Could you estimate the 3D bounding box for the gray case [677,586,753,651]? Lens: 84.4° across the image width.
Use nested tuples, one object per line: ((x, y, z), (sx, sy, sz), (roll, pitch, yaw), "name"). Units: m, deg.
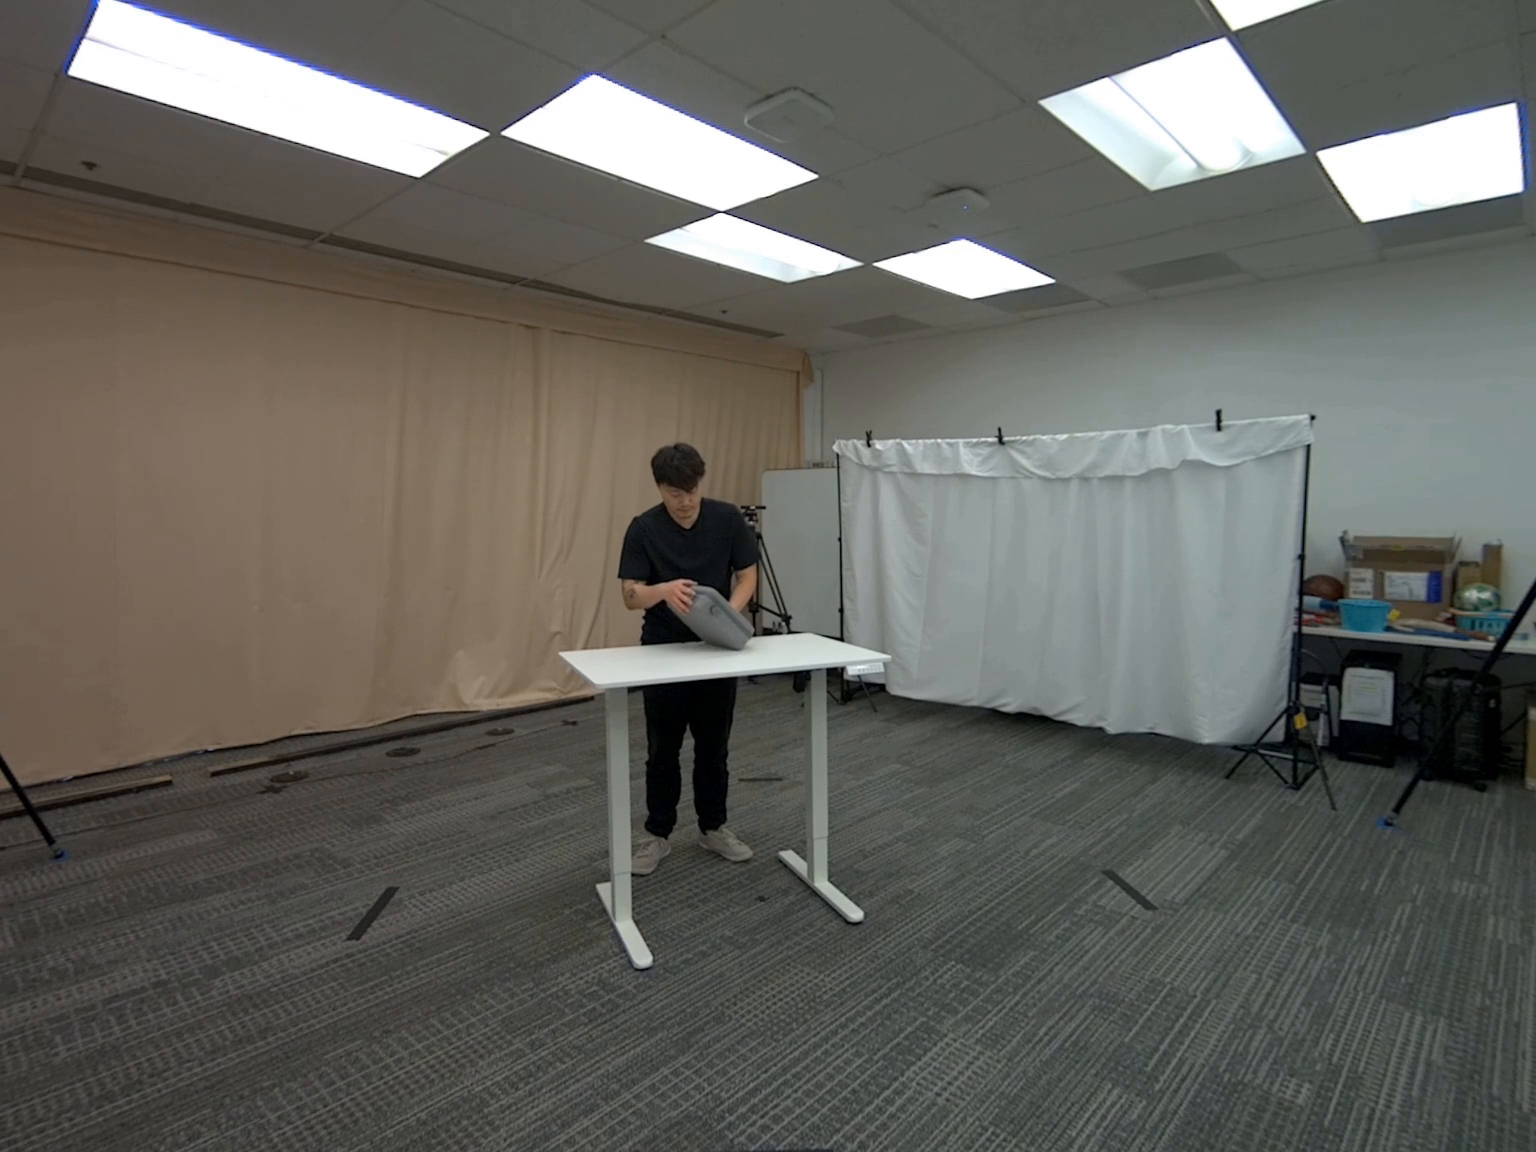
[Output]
((-0.208, 0.144, 3.014), (0.254, 0.104, 0.265), (48, -22, -25), "gray case")
